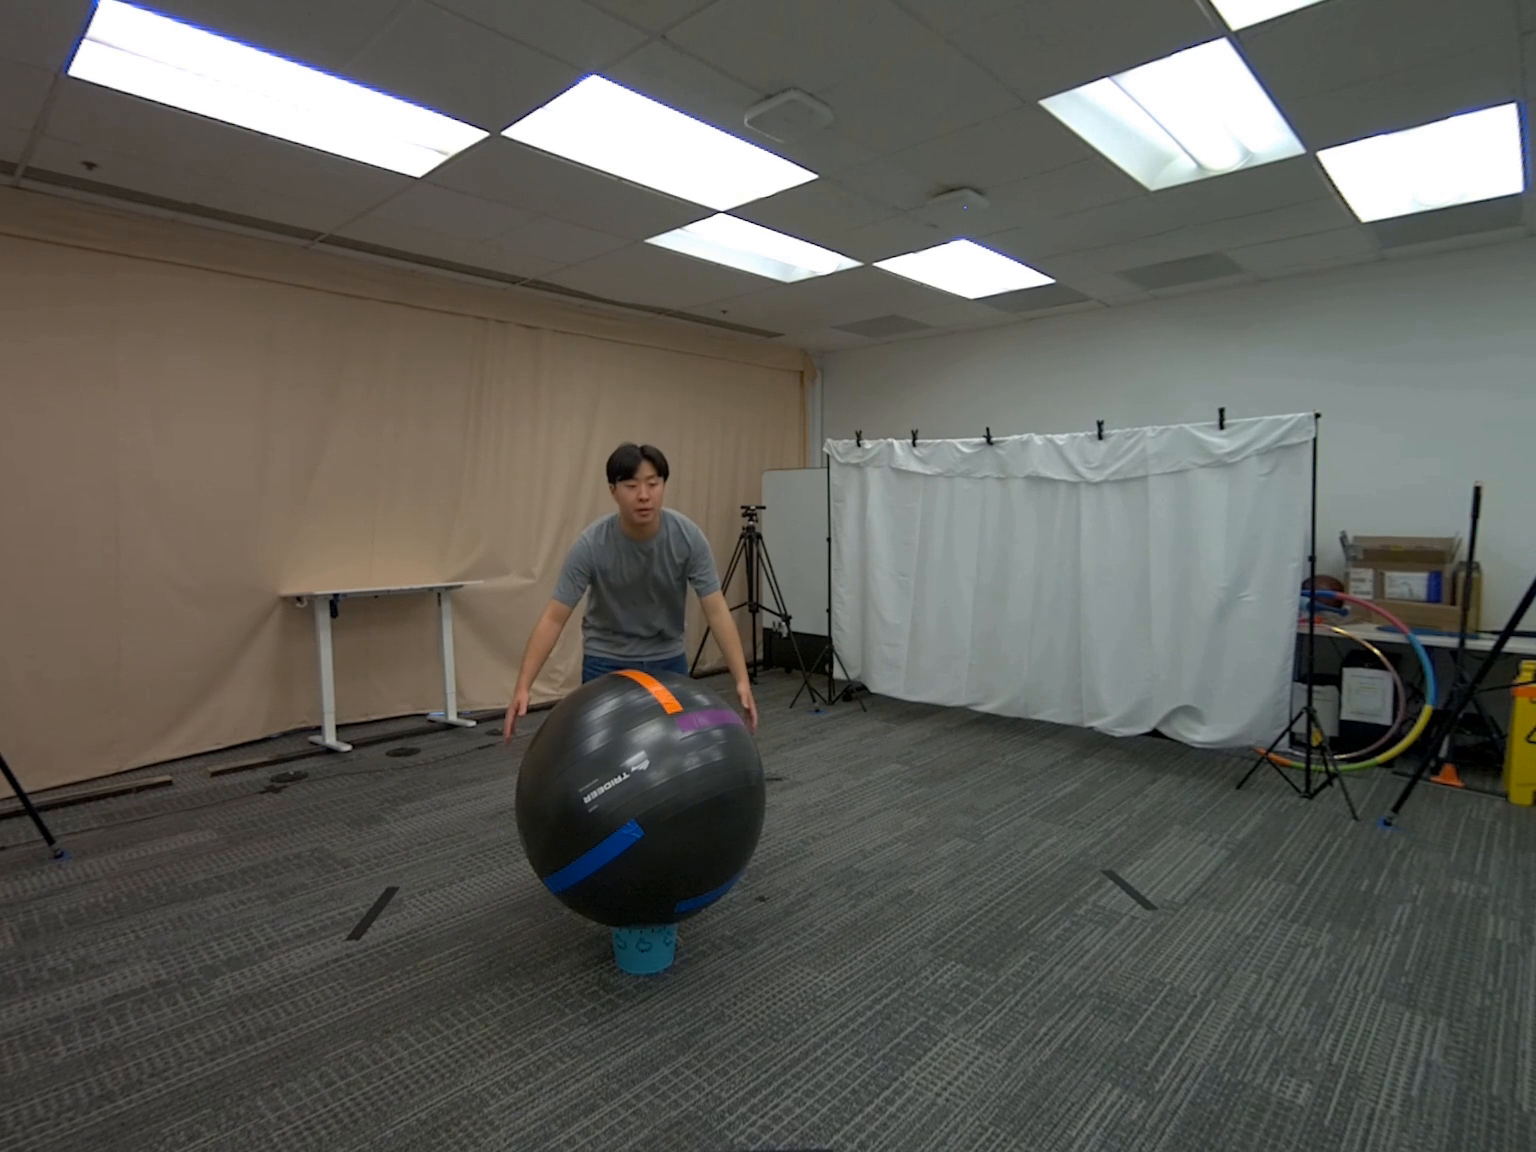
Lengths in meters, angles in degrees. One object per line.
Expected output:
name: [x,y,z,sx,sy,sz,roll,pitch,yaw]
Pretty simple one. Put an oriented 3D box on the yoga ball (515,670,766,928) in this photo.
yoga ball: [-0.392,0.674,2.566,0.757,0.756,0.761,0,4,-2]
